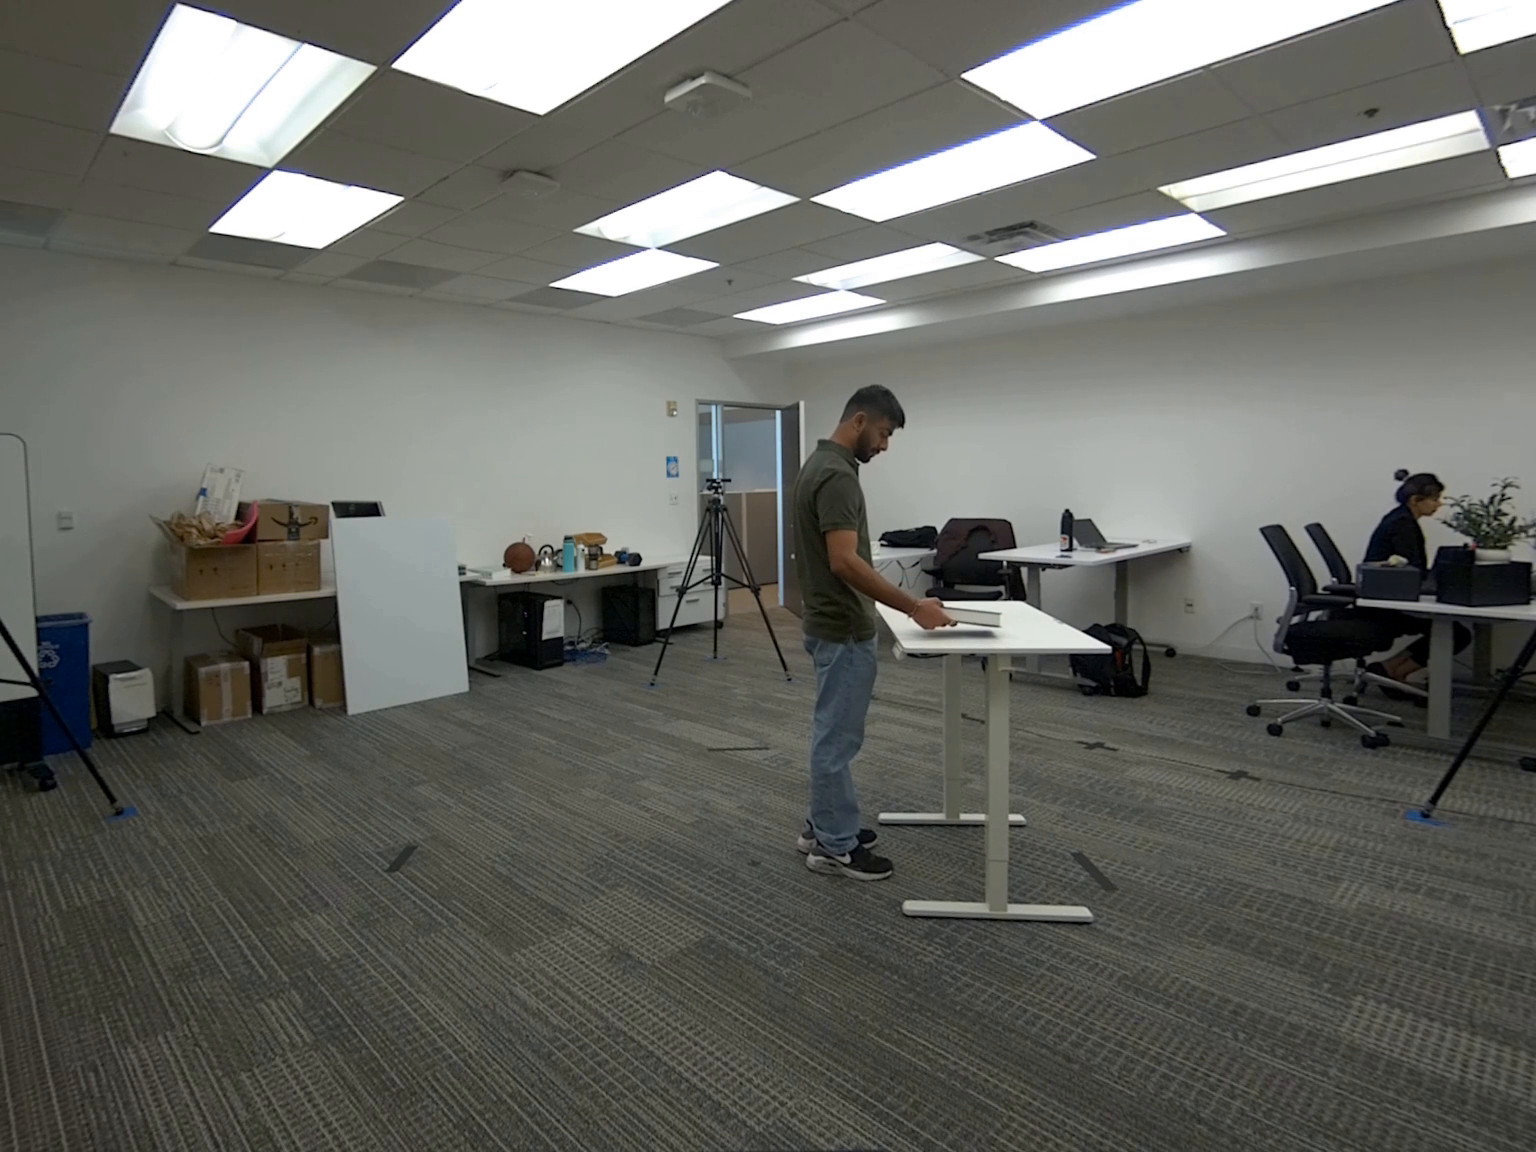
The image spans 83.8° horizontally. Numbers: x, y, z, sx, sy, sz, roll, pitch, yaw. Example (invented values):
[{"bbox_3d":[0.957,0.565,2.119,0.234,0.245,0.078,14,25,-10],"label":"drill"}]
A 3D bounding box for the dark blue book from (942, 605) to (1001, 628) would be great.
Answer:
[{"bbox_3d":[0.623,0.127,2.756,0.248,0.045,0.161,5,-3,11],"label":"dark blue book"}]
